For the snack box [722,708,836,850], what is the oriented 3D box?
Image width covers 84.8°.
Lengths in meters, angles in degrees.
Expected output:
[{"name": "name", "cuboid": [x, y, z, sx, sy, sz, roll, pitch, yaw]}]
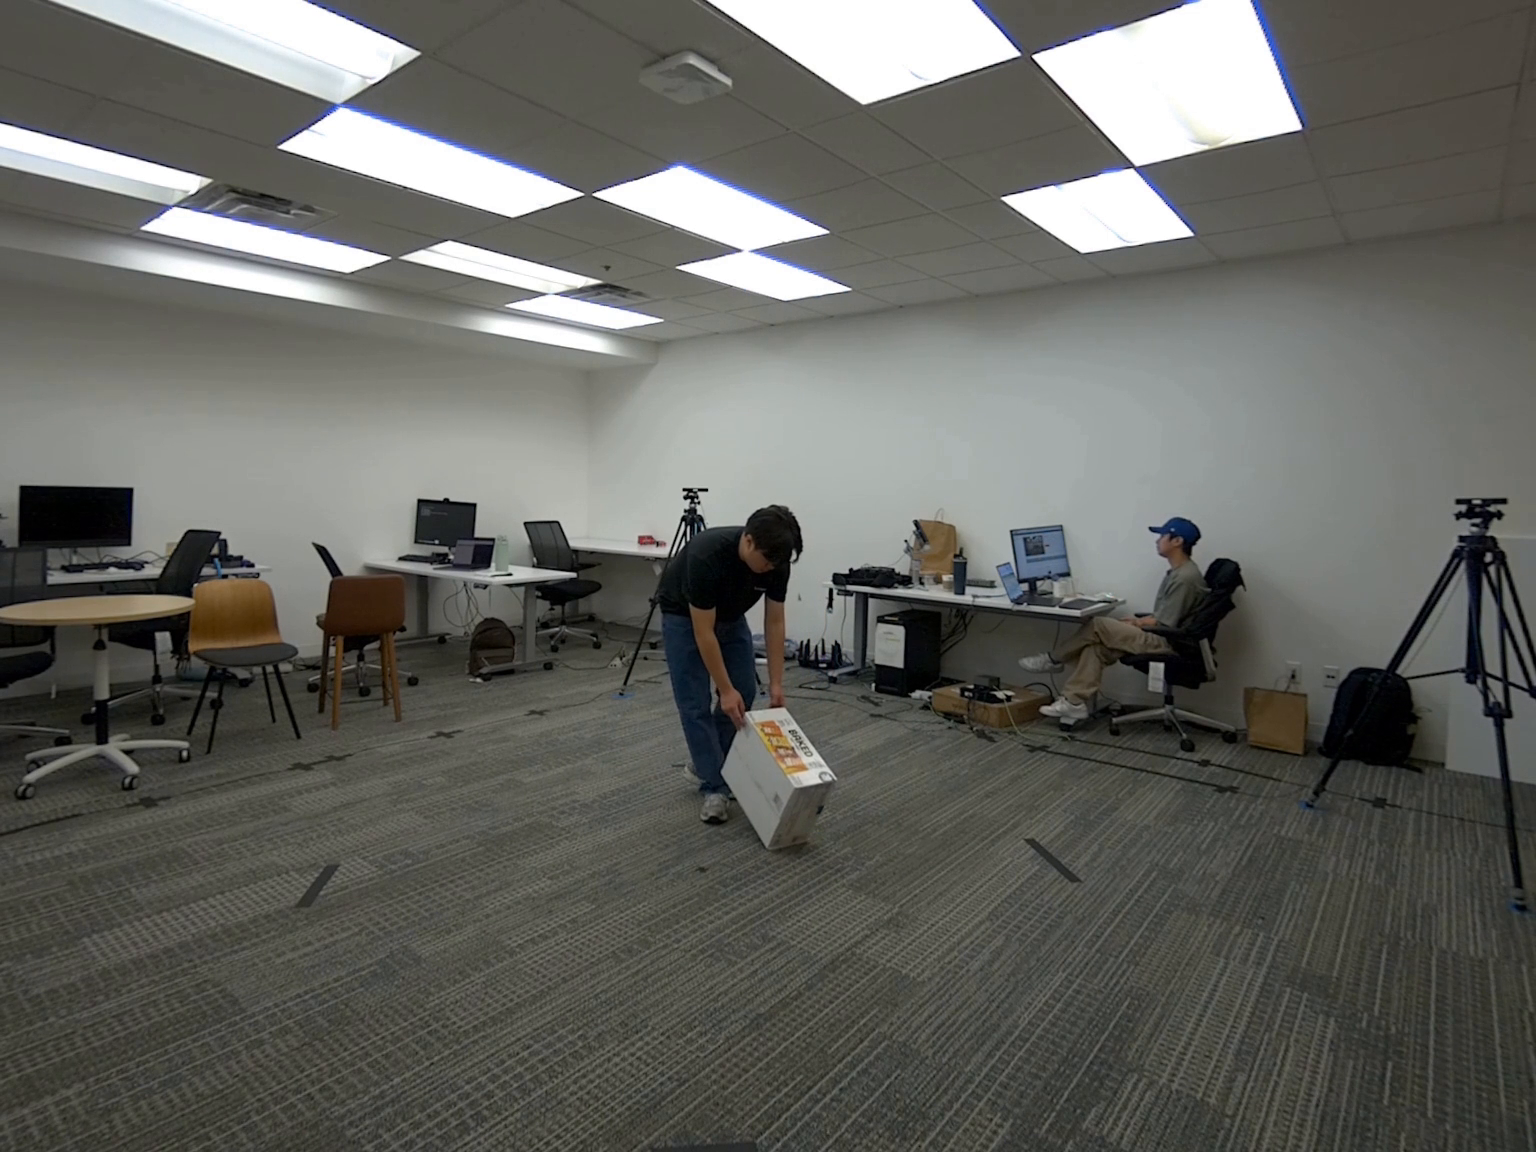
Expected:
[{"name": "snack box", "cuboid": [0.026, 0.798, 3.403, 0.200, 0.336, 0.423, 0, 34, -34]}]
